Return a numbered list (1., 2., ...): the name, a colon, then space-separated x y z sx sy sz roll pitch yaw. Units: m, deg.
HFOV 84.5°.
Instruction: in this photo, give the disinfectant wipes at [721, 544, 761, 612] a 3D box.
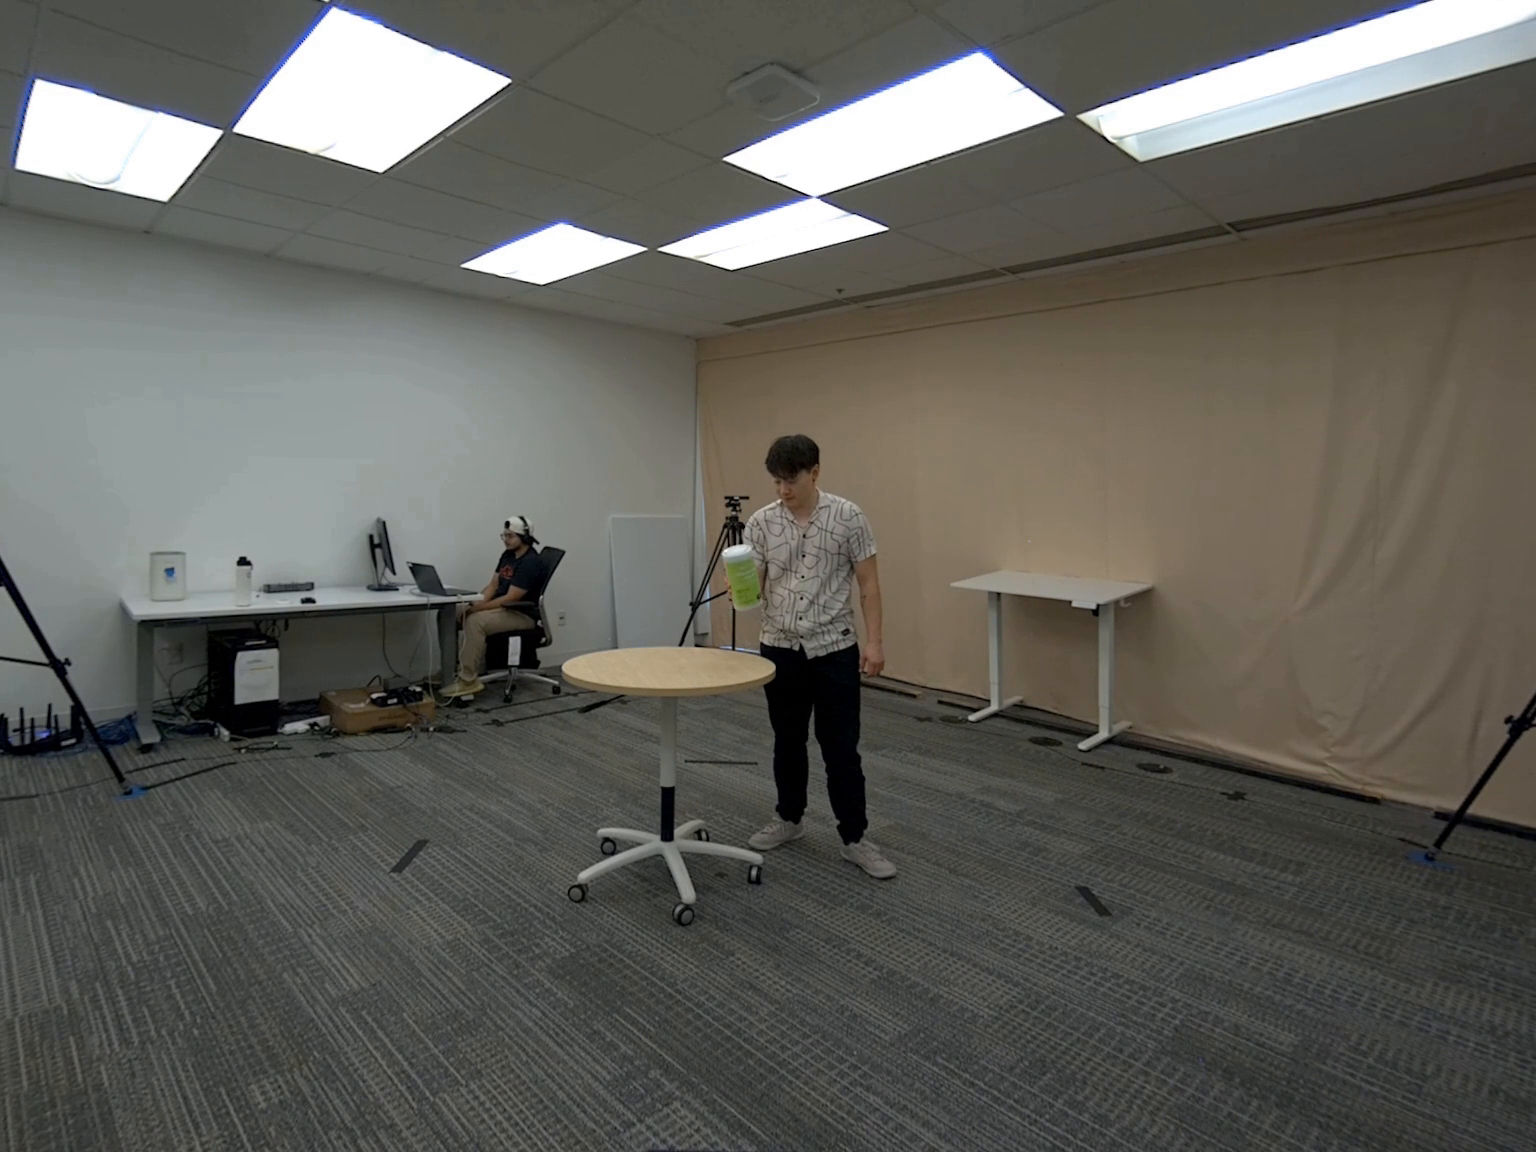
1. disinfectant wipes: -0.098 0.010 2.976 0.118 0.214 0.119 -9 19 2
